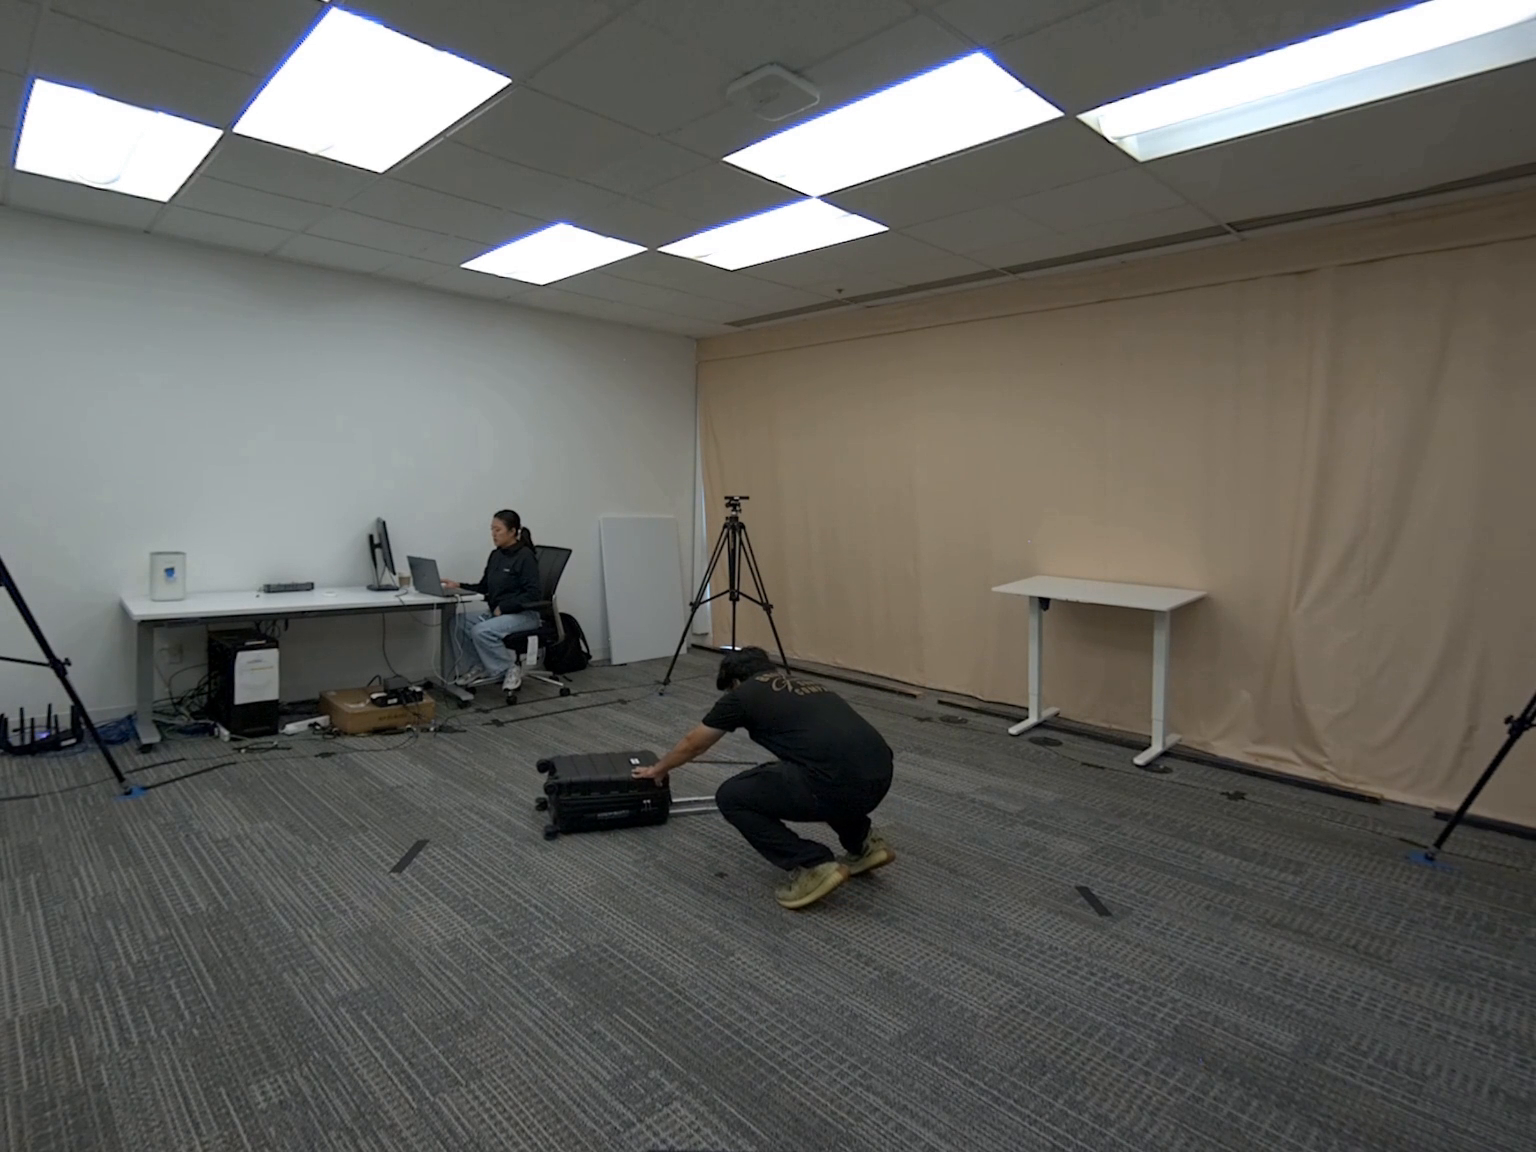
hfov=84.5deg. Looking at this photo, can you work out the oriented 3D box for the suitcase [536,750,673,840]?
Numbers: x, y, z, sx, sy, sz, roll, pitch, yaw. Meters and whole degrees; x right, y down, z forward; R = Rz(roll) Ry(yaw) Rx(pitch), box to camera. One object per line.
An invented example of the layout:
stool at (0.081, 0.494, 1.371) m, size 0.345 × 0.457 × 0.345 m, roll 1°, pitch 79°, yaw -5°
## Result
suitcase at (-0.519, 0.915, 3.700) m, size 0.965 × 0.256 × 0.391 m, roll -2°, pitch 5°, yaw -19°
